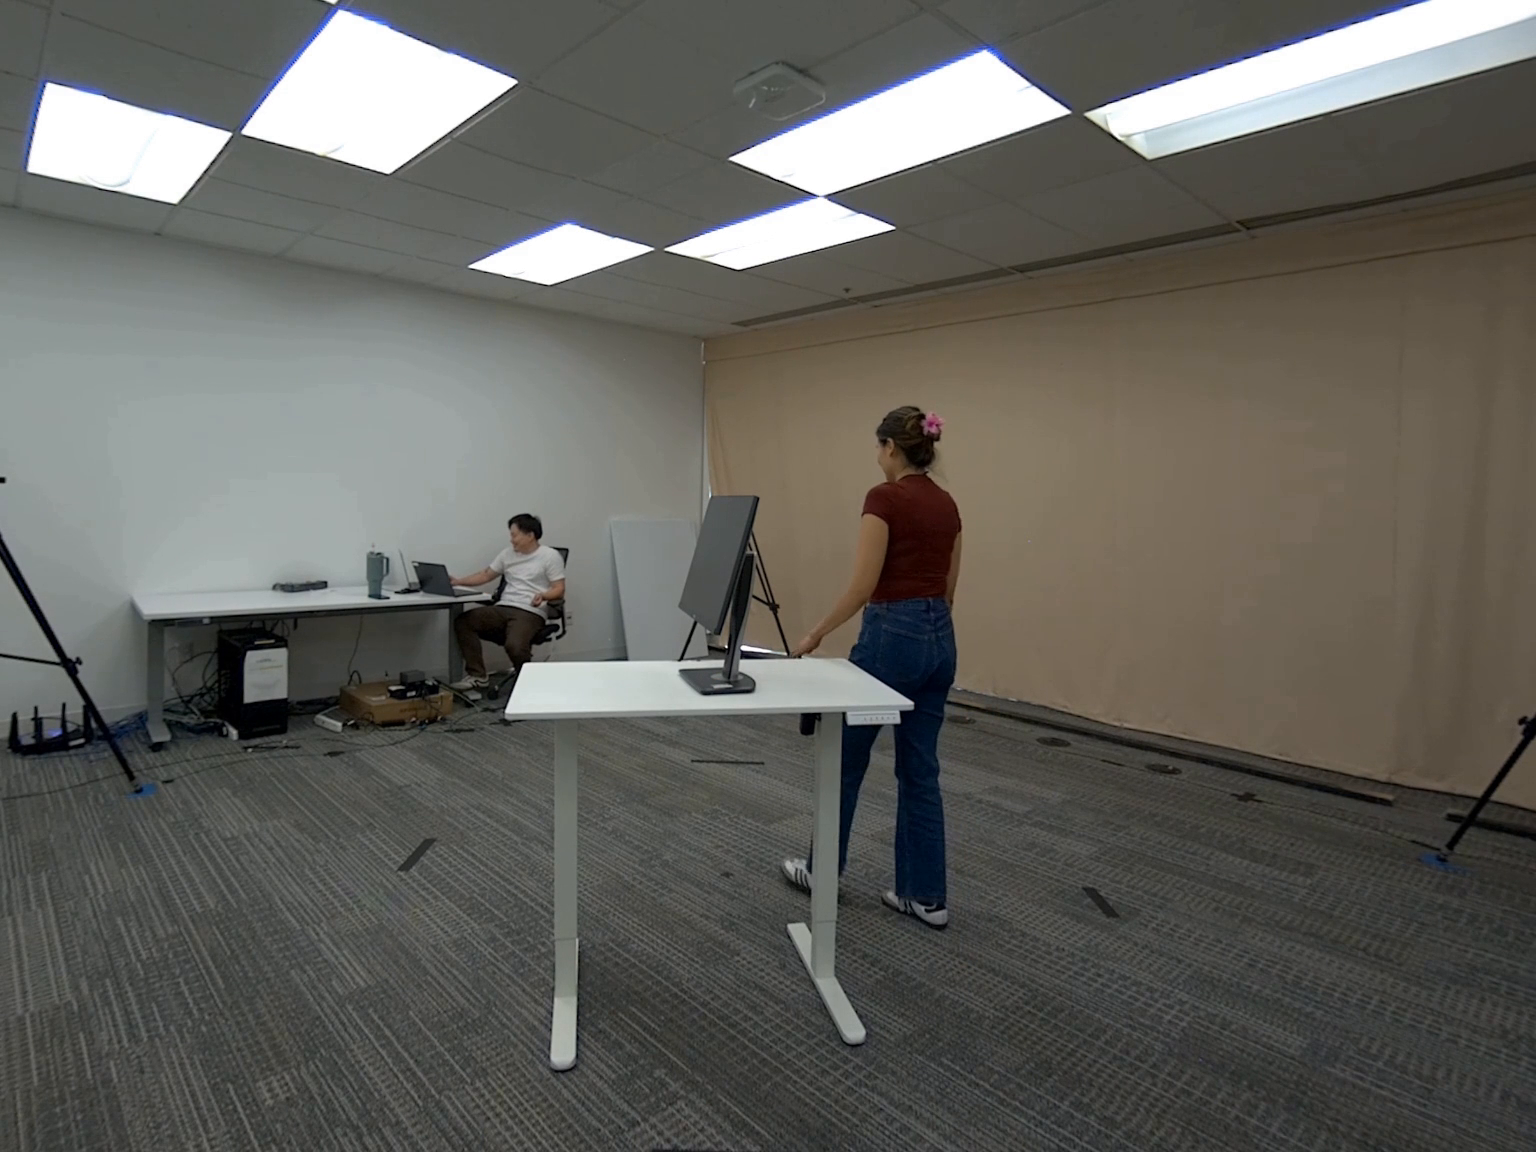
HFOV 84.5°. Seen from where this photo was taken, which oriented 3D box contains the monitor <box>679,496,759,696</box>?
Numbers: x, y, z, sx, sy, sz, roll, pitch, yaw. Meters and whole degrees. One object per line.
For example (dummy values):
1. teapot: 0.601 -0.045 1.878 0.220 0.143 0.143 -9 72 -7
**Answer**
1. monitor: -0.120 0.043 2.295 0.185 0.522 0.547 2 3 -17
